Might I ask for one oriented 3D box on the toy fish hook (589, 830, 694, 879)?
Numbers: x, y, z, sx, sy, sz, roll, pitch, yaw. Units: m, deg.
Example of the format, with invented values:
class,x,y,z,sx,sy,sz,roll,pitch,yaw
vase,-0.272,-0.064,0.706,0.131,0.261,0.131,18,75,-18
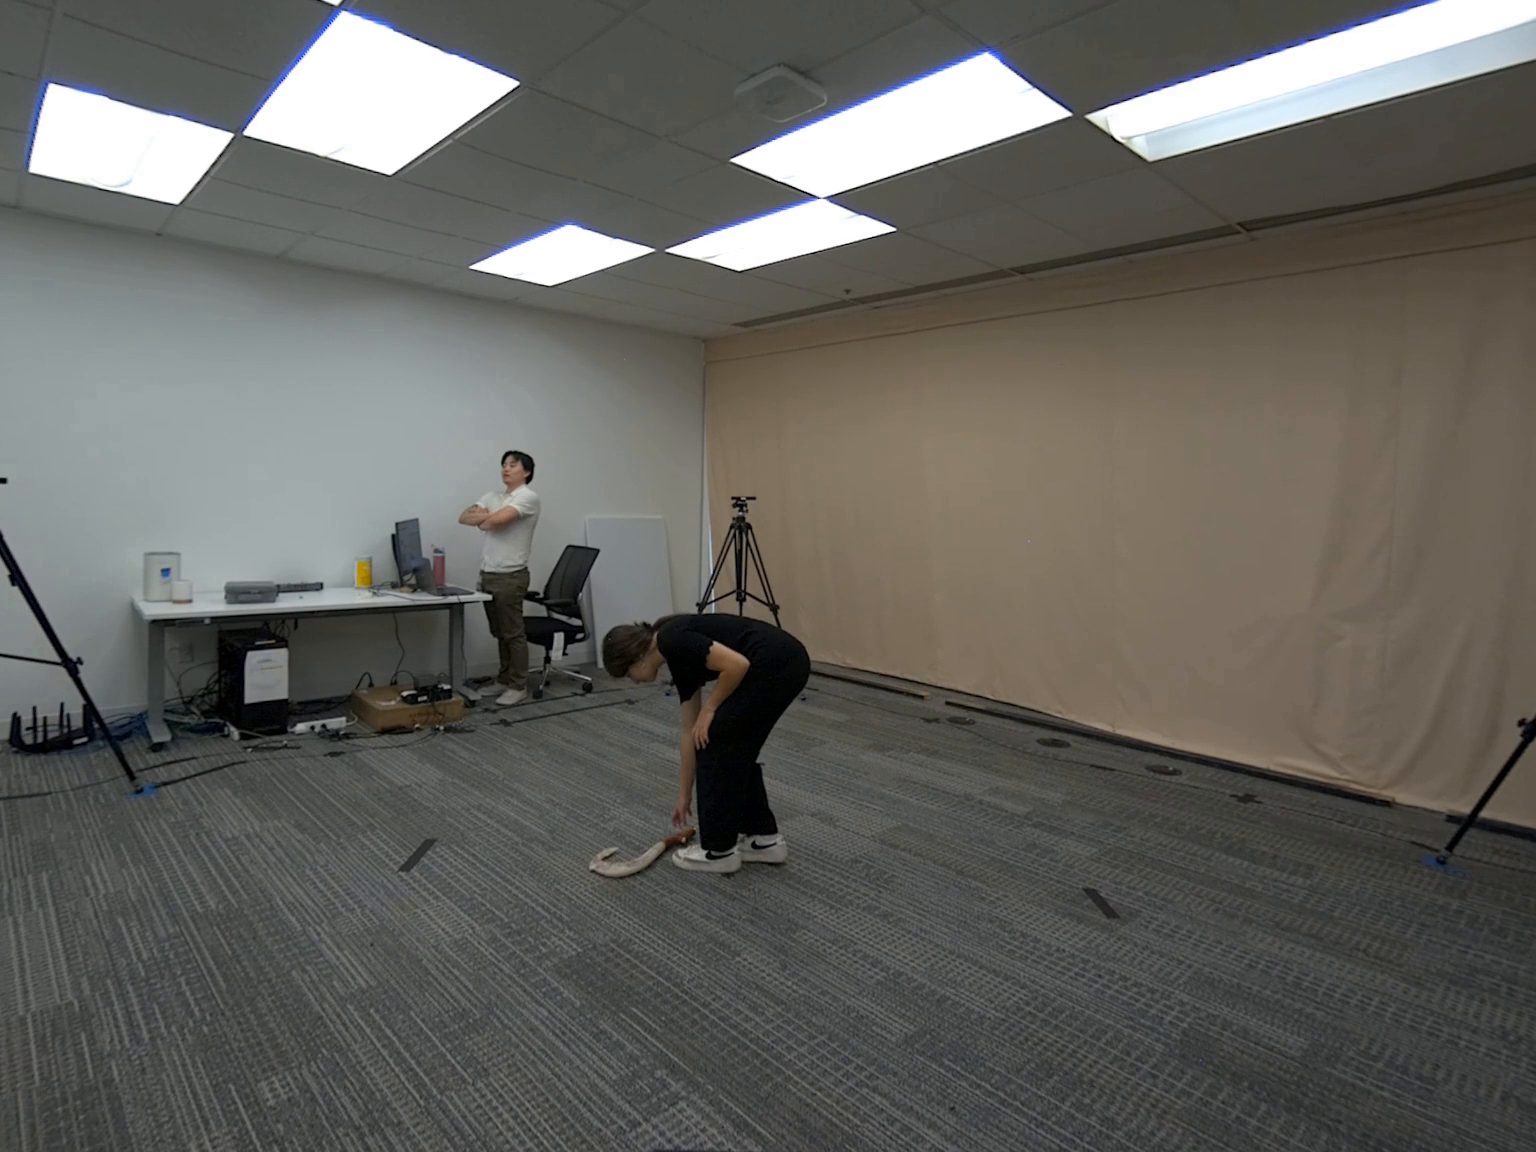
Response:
class,x,y,z,sx,sy,sz,roll,pitch,yaw
toy fish hook,-0.488,1.056,3.282,0.230,0.048,0.496,6,6,34
